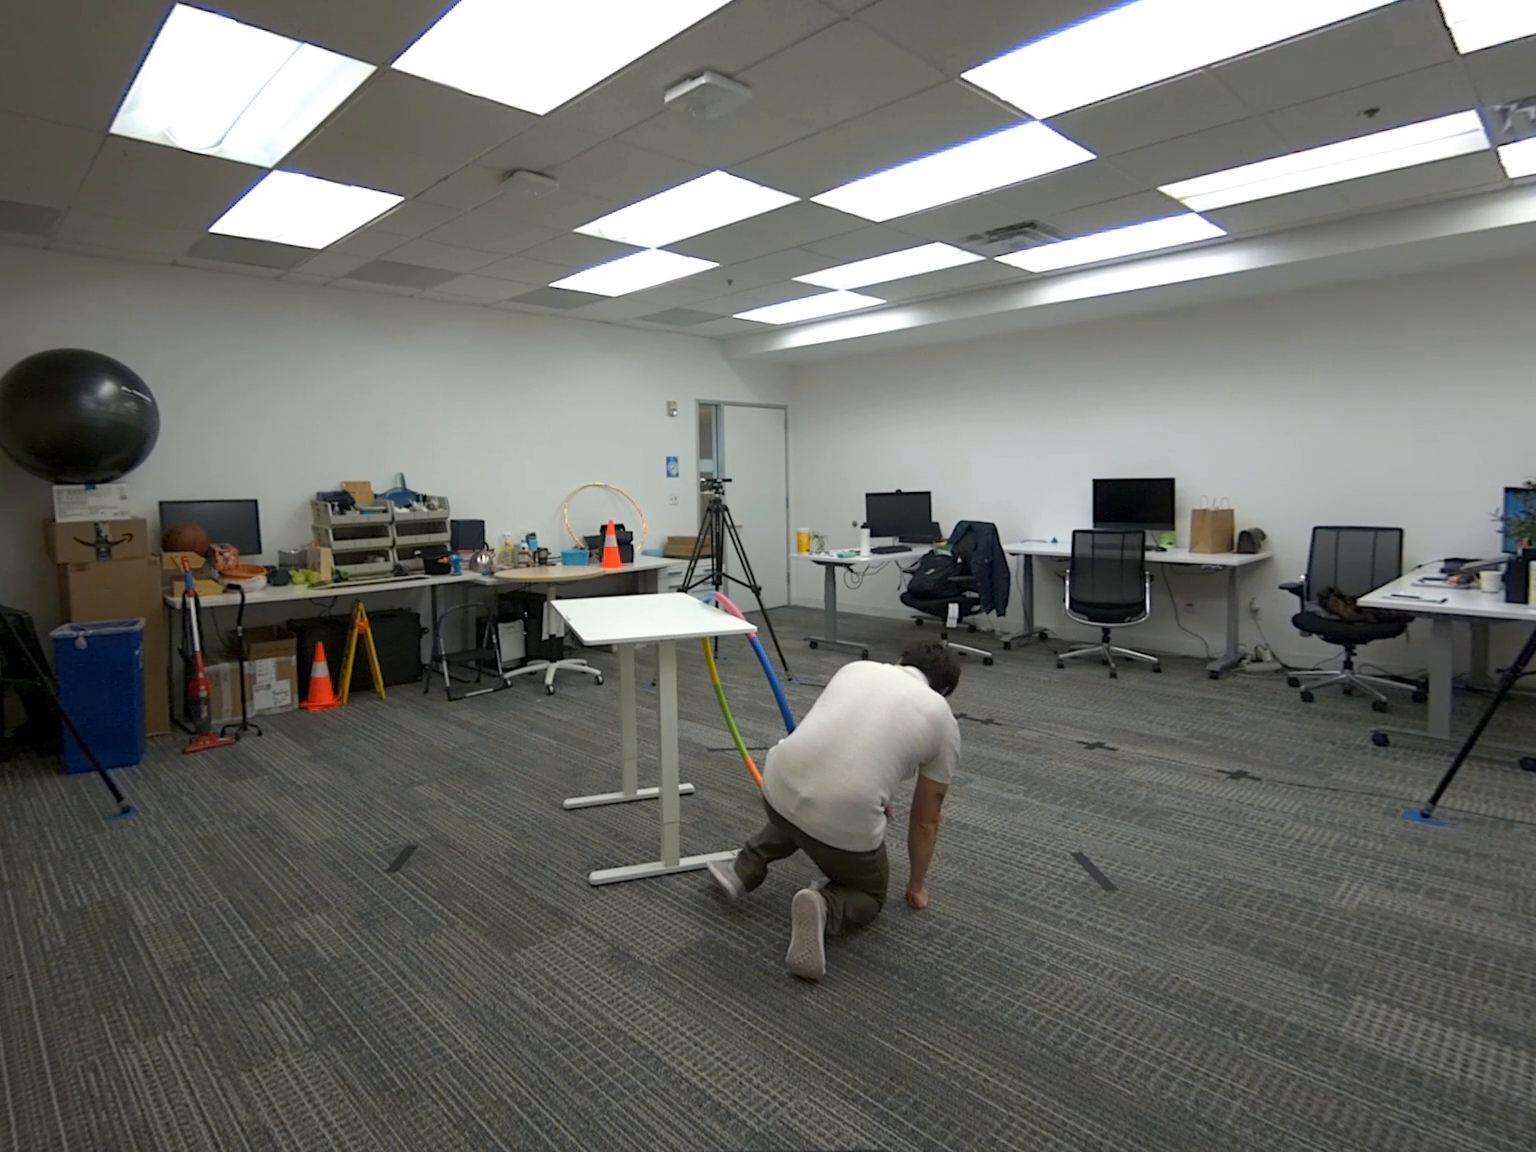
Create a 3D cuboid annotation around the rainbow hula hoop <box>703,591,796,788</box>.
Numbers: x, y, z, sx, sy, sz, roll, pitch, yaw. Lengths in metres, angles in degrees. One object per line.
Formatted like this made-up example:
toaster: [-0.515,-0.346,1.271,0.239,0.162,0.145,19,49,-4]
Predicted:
rainbow hula hoop: [-0.067,0.530,3.502,0.035,0.969,0.999,-19,10,-18]
